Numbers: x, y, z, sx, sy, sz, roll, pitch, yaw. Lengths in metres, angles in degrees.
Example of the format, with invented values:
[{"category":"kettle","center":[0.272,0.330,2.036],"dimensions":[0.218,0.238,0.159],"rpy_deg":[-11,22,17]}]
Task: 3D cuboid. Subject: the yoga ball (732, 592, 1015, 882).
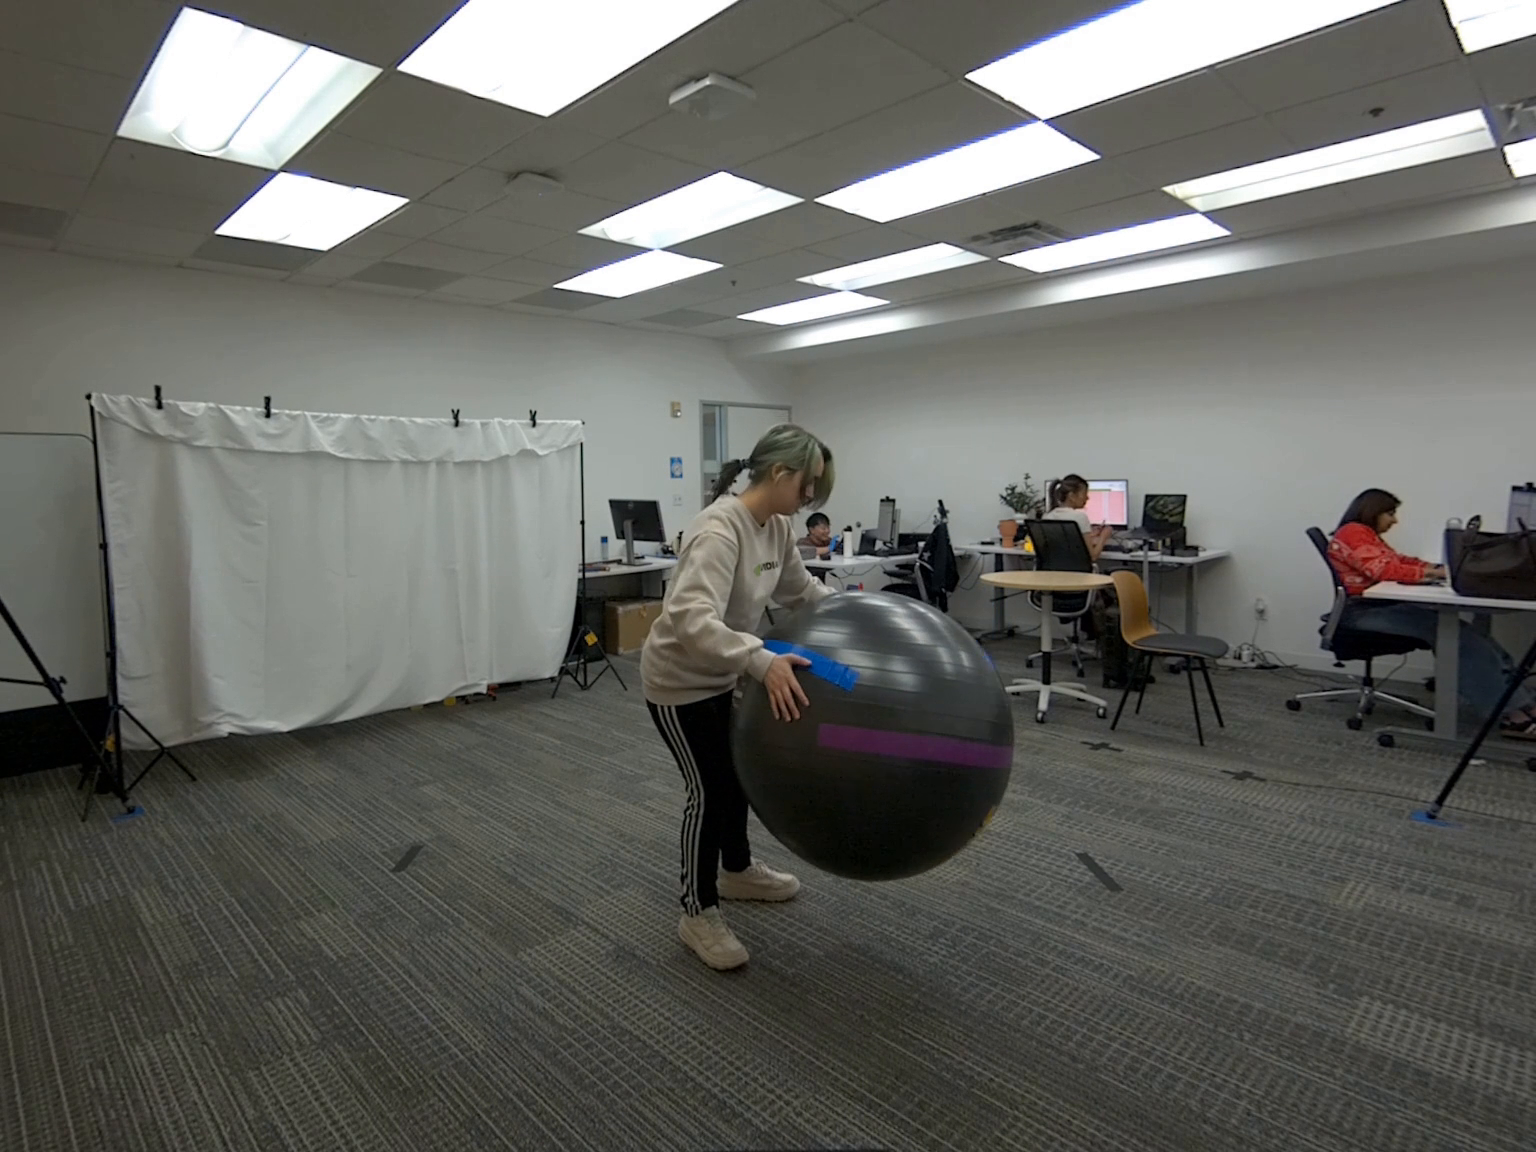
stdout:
[{"category":"yoga ball","center":[0.271,0.422,2.312],"dimensions":[0.757,0.755,0.762],"rpy_deg":[-1,5,-2]}]
